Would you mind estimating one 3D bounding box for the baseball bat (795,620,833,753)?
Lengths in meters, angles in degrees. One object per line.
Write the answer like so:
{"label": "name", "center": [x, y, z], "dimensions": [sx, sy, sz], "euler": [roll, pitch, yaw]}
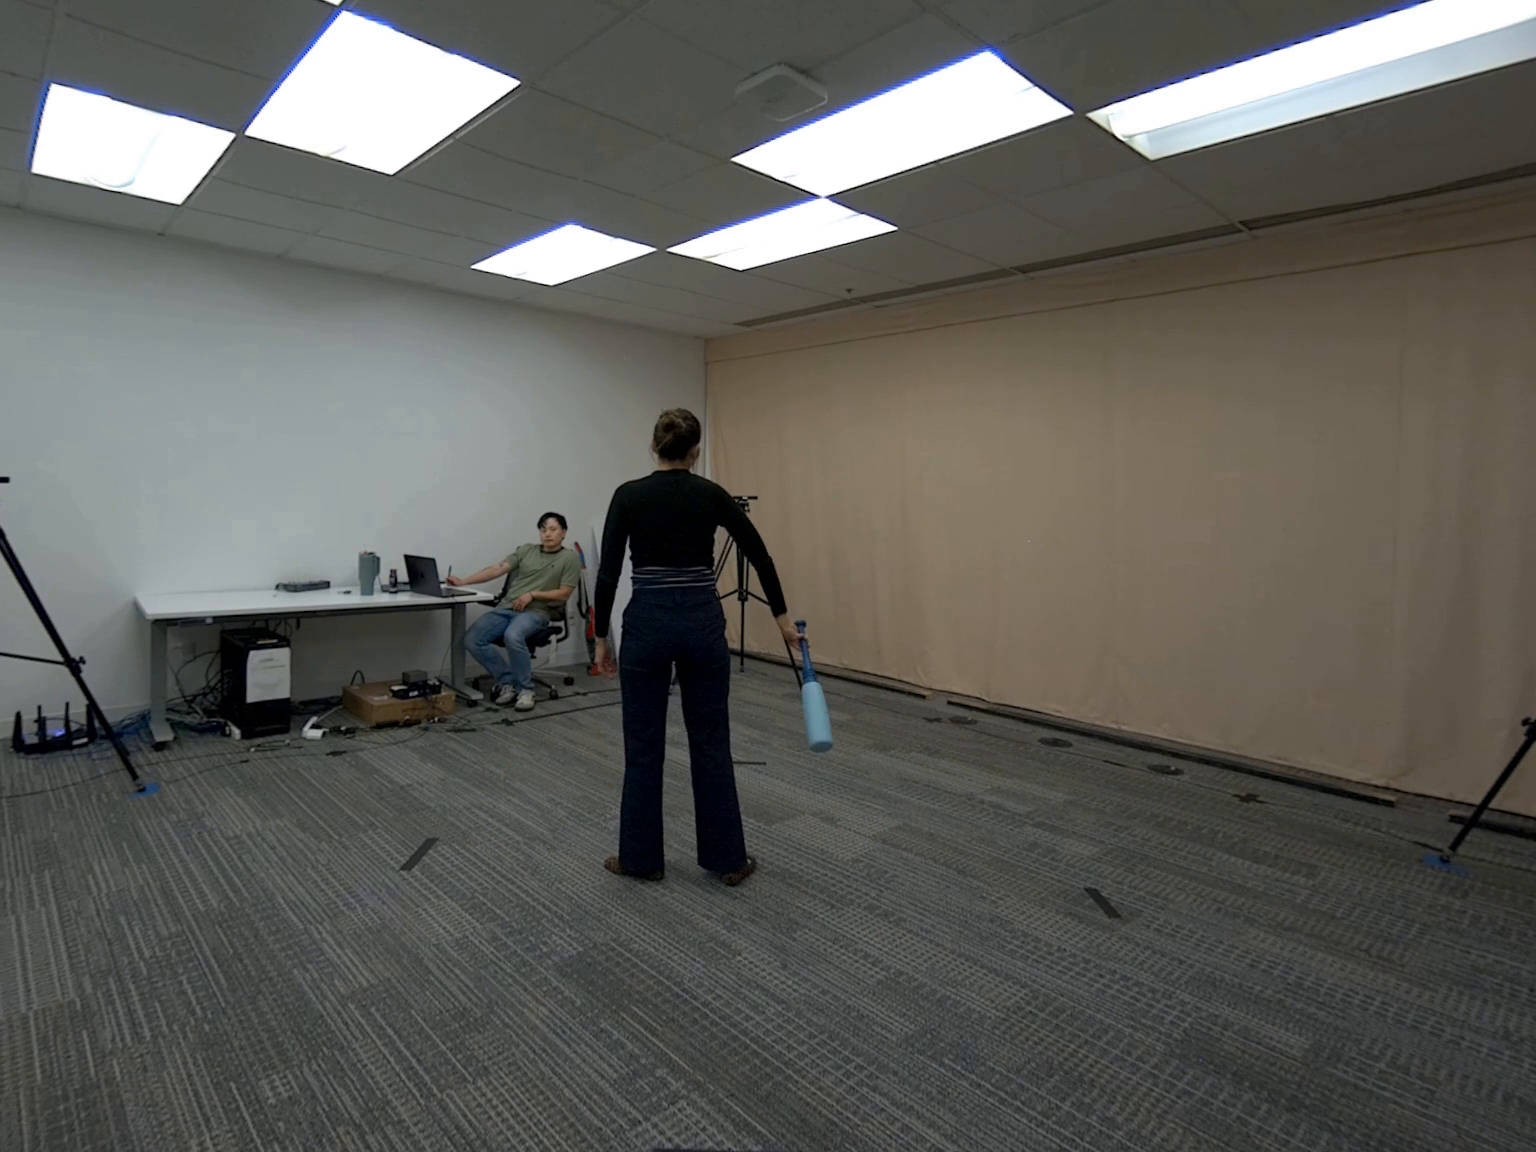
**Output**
{"label": "baseball bat", "center": [0.134, 0.392, 3.084], "dimensions": [0.089, 0.556, 0.087], "euler": [-4, -41, -5]}
